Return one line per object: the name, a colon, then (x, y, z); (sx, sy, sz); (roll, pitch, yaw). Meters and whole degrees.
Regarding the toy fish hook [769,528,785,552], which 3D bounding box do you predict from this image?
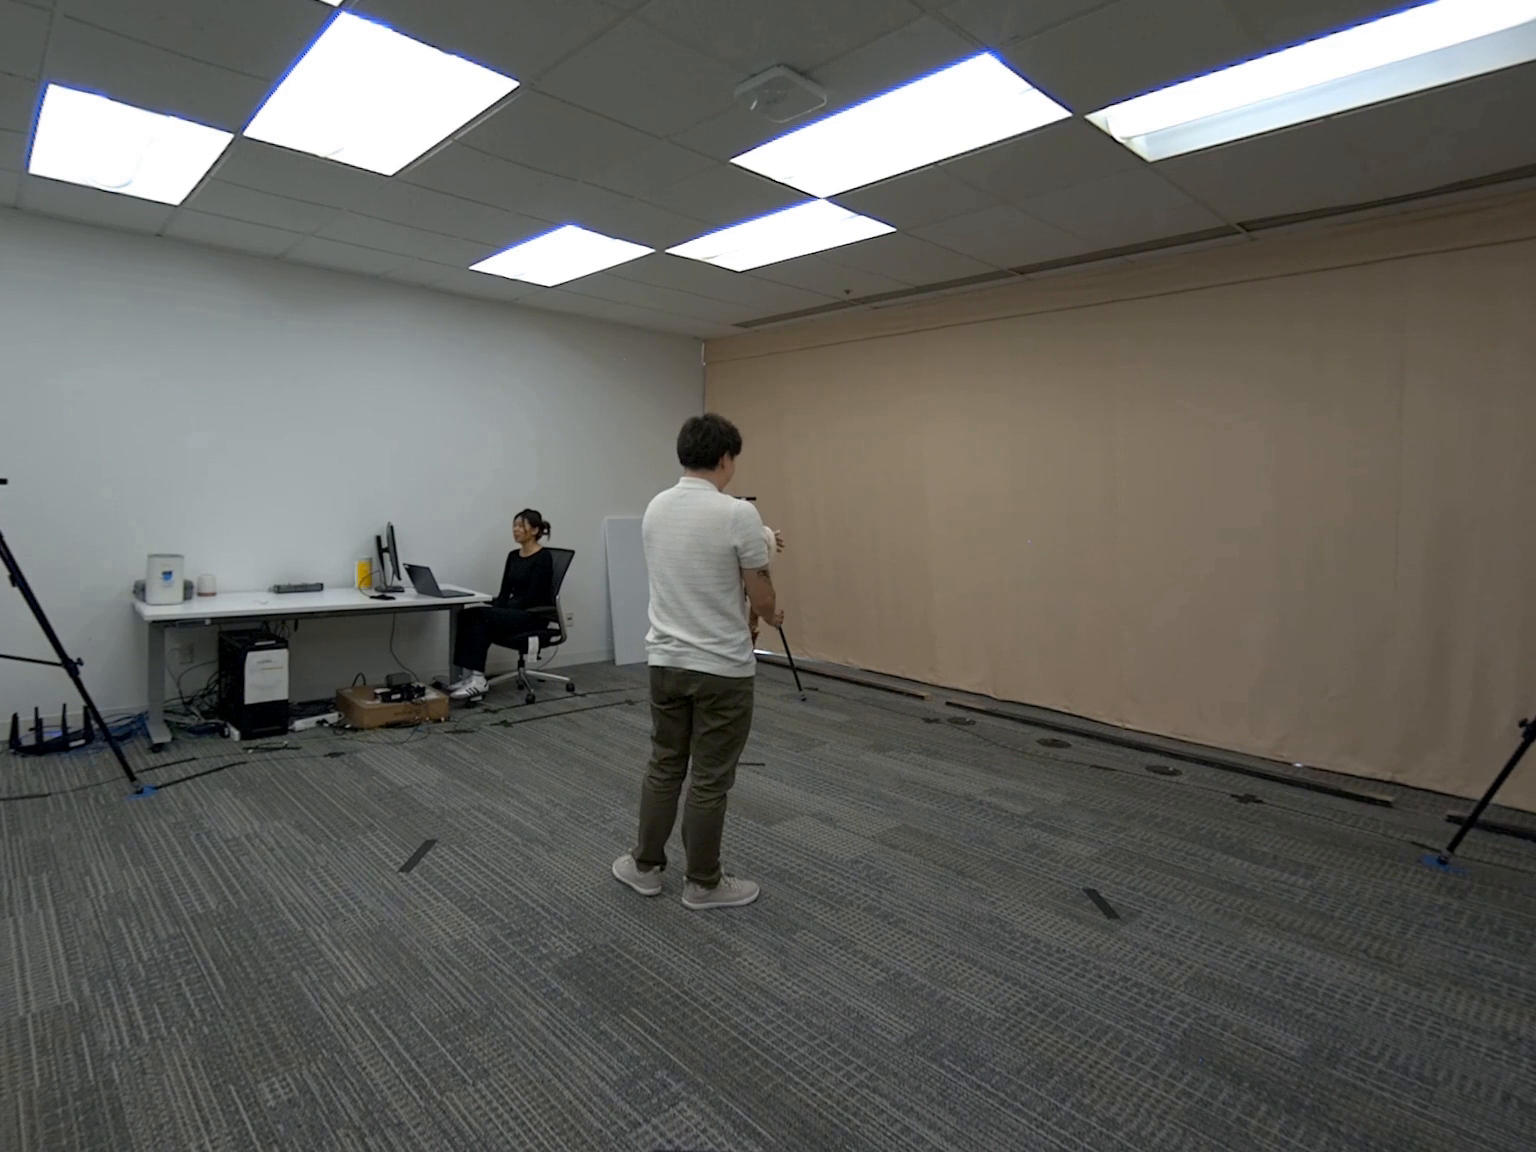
toy fish hook: (-0.062, 0.052, 3.288); (0.047, 0.503, 0.230); (5, 10, -23)
